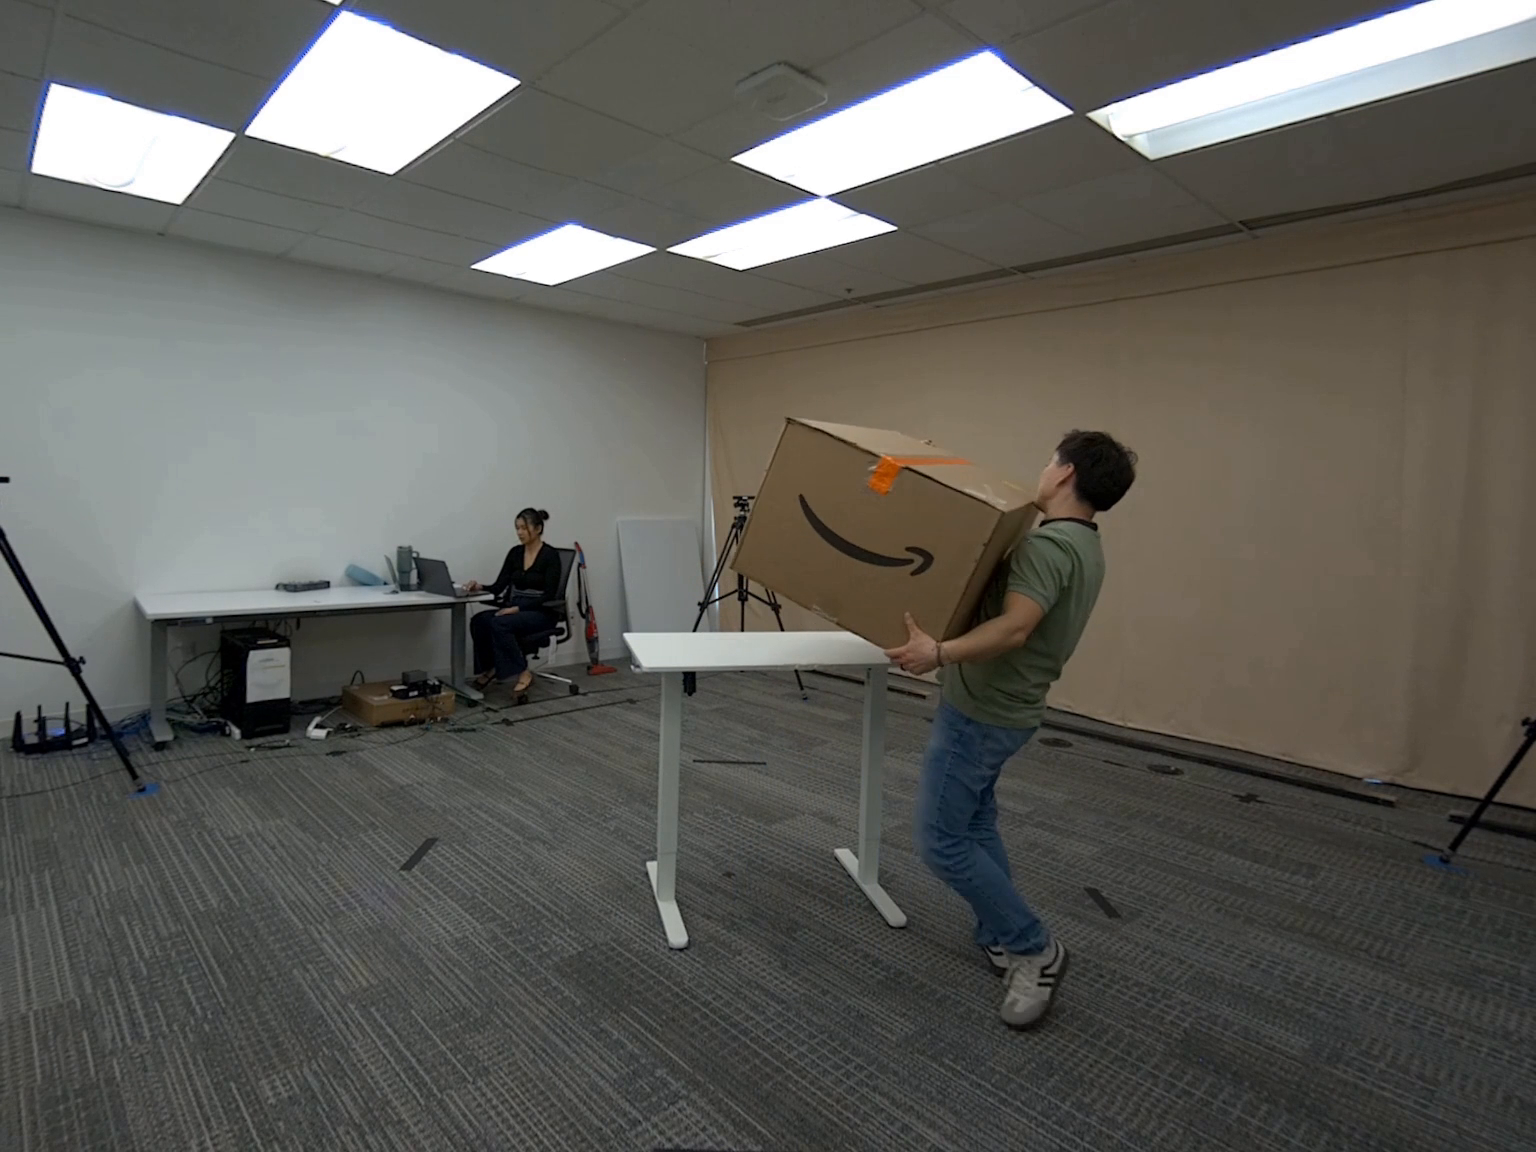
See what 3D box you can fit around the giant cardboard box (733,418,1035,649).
[{"bbox_3d":[0.406,-0.144,2.495,0.589,0.423,1.011,27,16,19],"label":"giant cardboard box"}]
